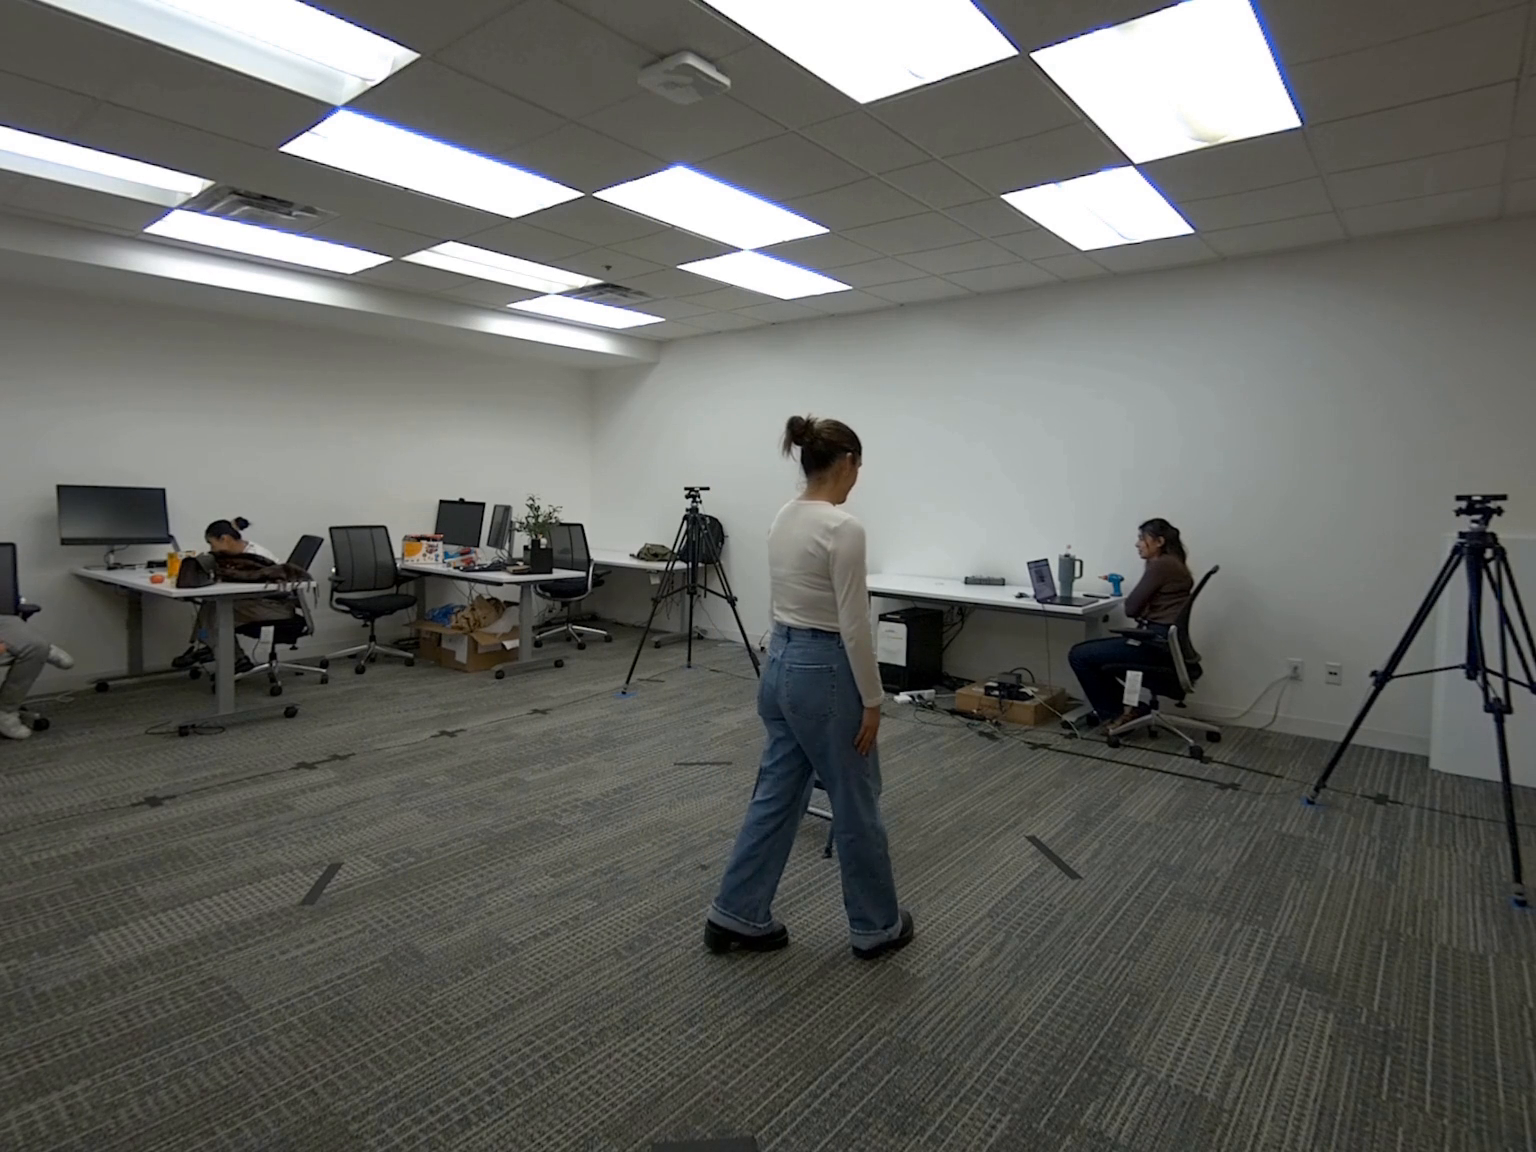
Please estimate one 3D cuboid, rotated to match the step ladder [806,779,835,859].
[{"bbox_3d":[0.165,0.728,3.459,0.445,0.604,0.339,4,4,40],"label":"step ladder"}]
